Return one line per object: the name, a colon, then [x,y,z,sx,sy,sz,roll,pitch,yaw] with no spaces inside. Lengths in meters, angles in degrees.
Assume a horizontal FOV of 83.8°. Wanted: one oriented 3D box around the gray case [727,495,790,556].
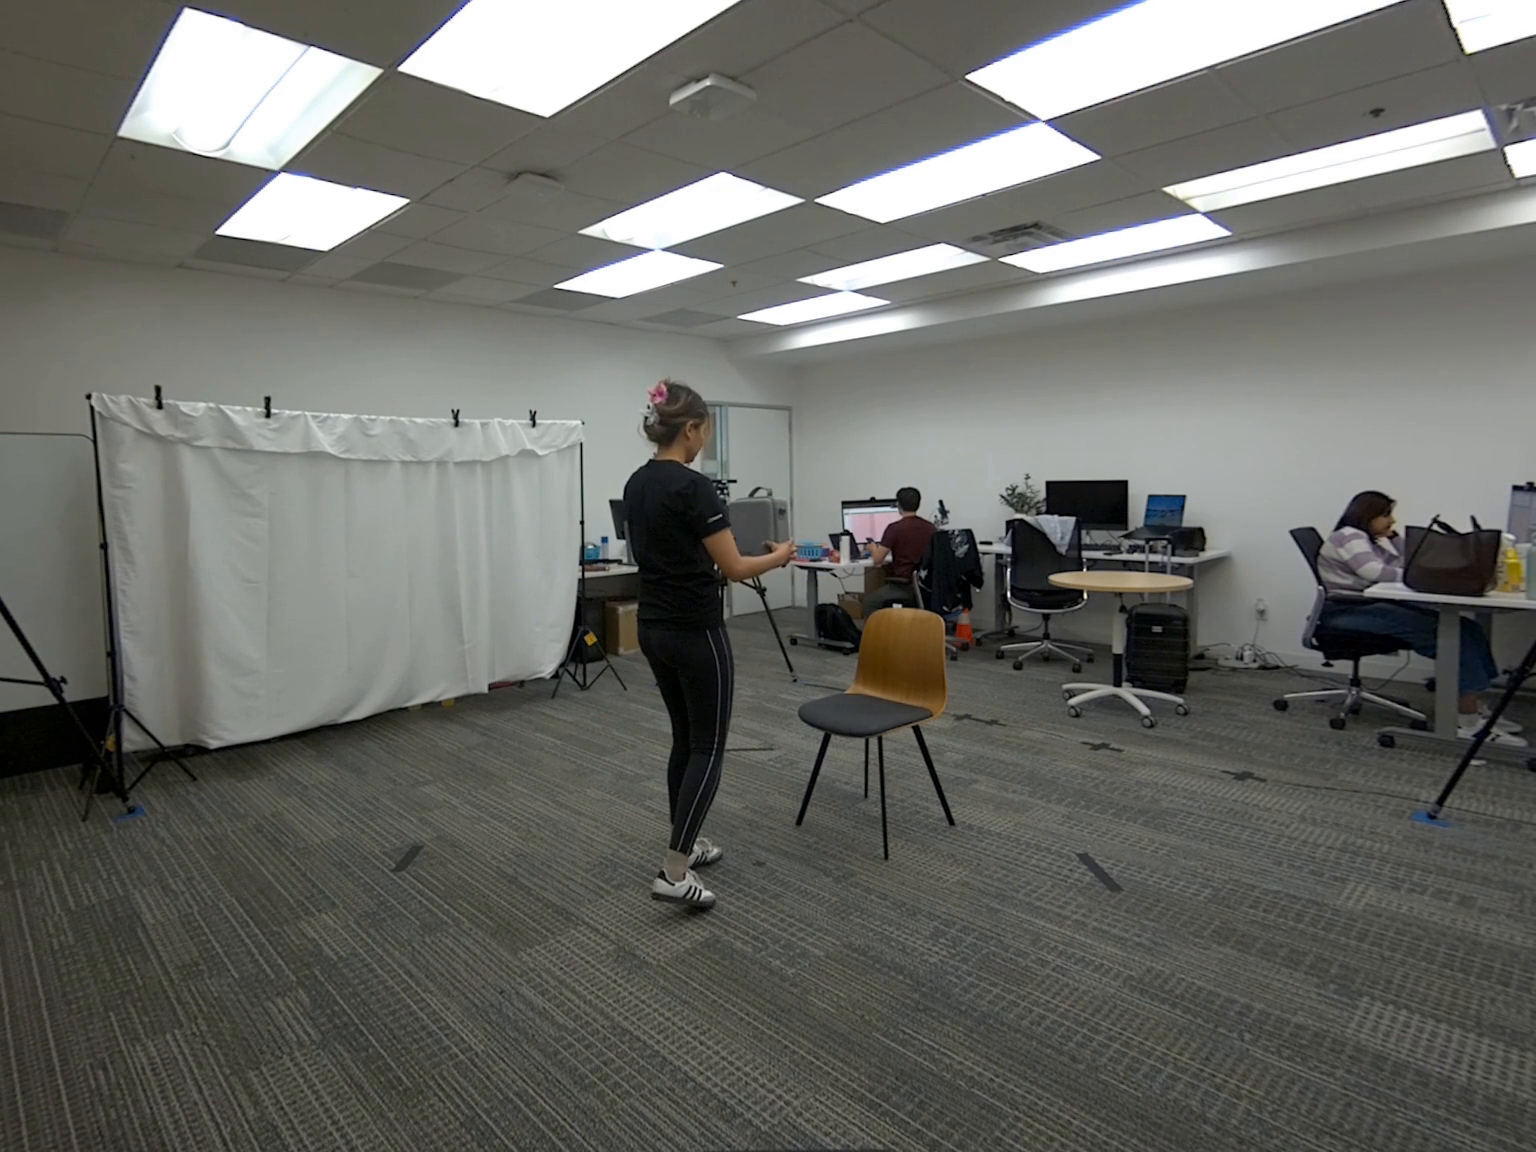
gray case: [-0.039,-0.165,3.148,0.101,0.260,0.264,-2,2,-37]
